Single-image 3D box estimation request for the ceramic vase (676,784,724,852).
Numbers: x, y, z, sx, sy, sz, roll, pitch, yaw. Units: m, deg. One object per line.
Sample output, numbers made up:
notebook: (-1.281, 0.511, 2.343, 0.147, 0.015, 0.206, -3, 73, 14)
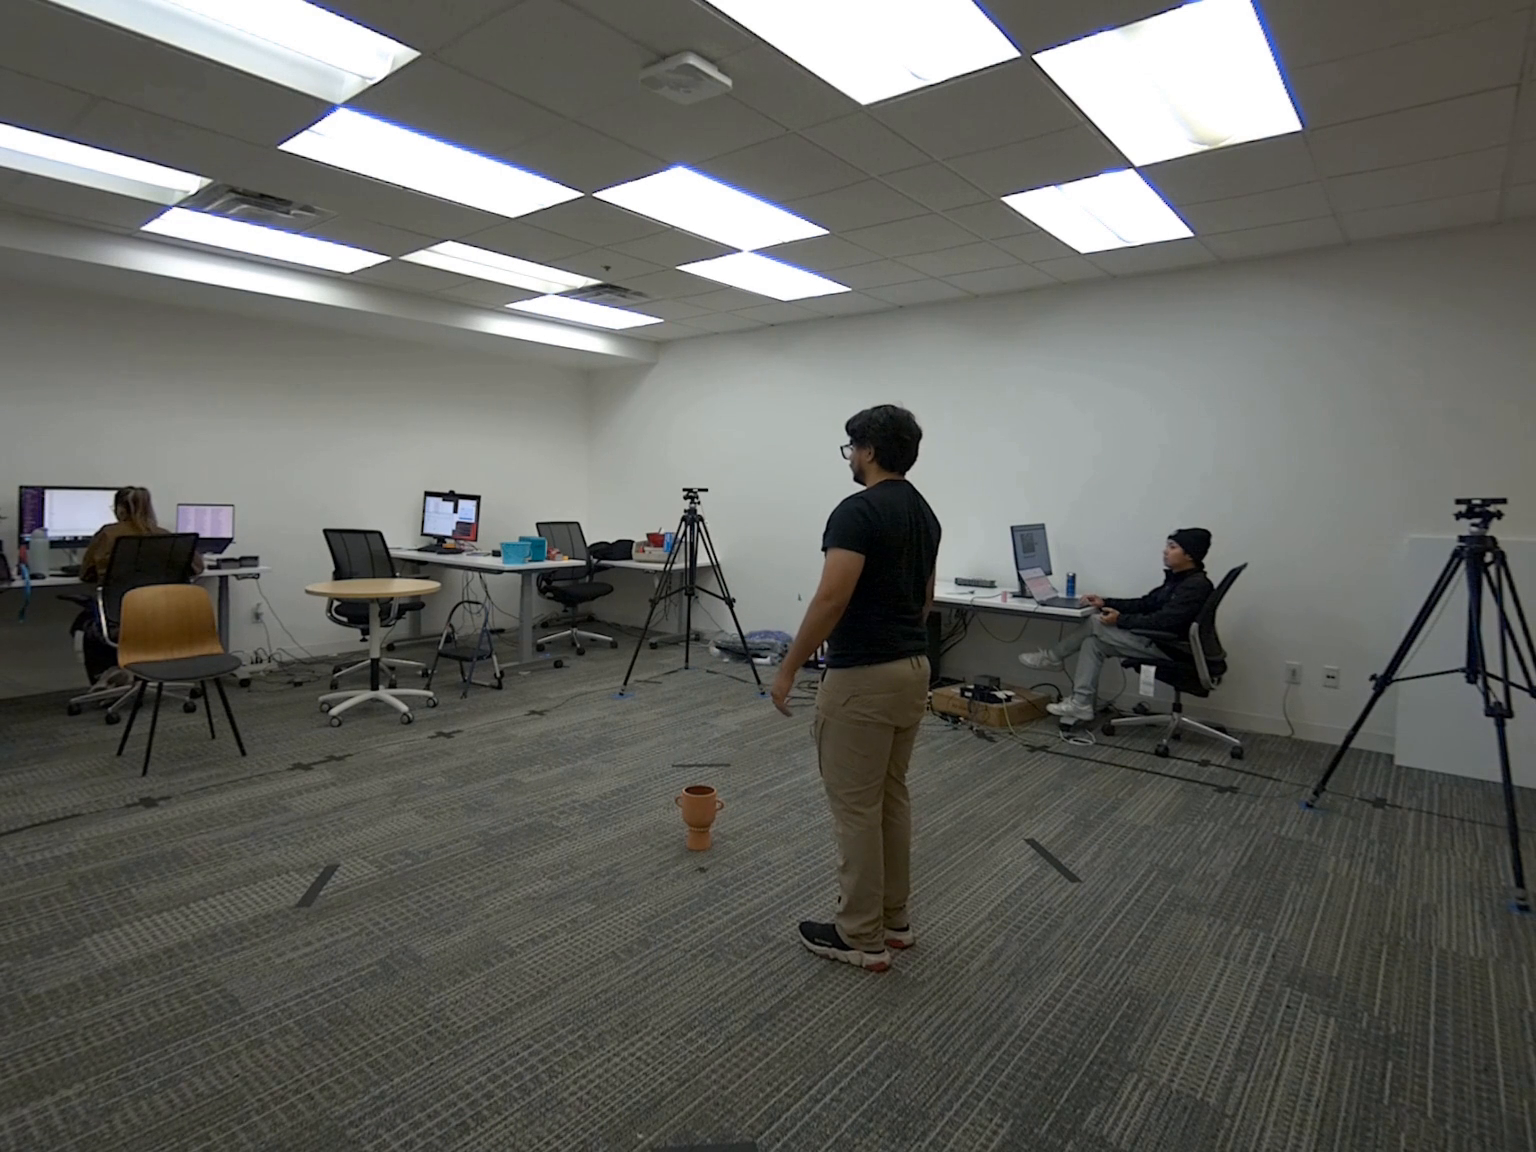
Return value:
ceramic vase: (-0.279, 0.937, 3.312, 0.130, 0.219, 0.164, -2, 4, -39)
